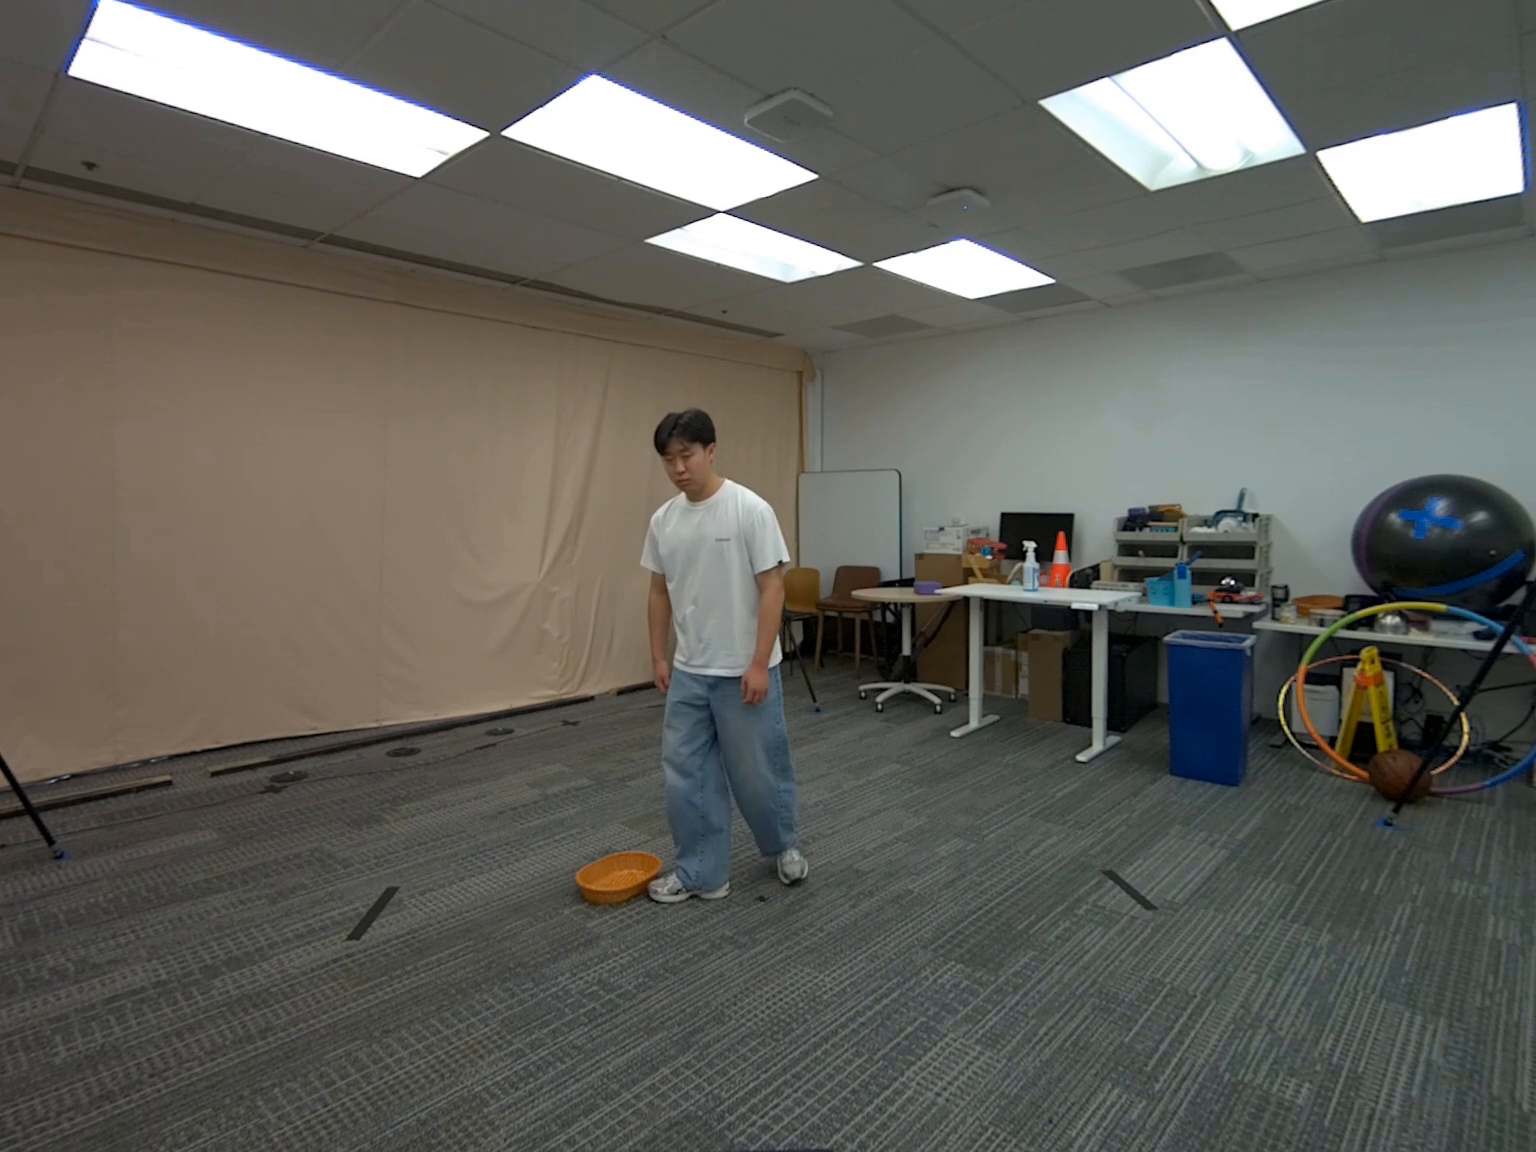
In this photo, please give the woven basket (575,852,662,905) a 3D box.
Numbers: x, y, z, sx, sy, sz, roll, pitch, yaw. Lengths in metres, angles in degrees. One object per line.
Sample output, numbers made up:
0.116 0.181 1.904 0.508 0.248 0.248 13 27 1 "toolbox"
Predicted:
-0.539 1.108 3.069 0.260 0.073 0.340 3 6 36 "woven basket"
